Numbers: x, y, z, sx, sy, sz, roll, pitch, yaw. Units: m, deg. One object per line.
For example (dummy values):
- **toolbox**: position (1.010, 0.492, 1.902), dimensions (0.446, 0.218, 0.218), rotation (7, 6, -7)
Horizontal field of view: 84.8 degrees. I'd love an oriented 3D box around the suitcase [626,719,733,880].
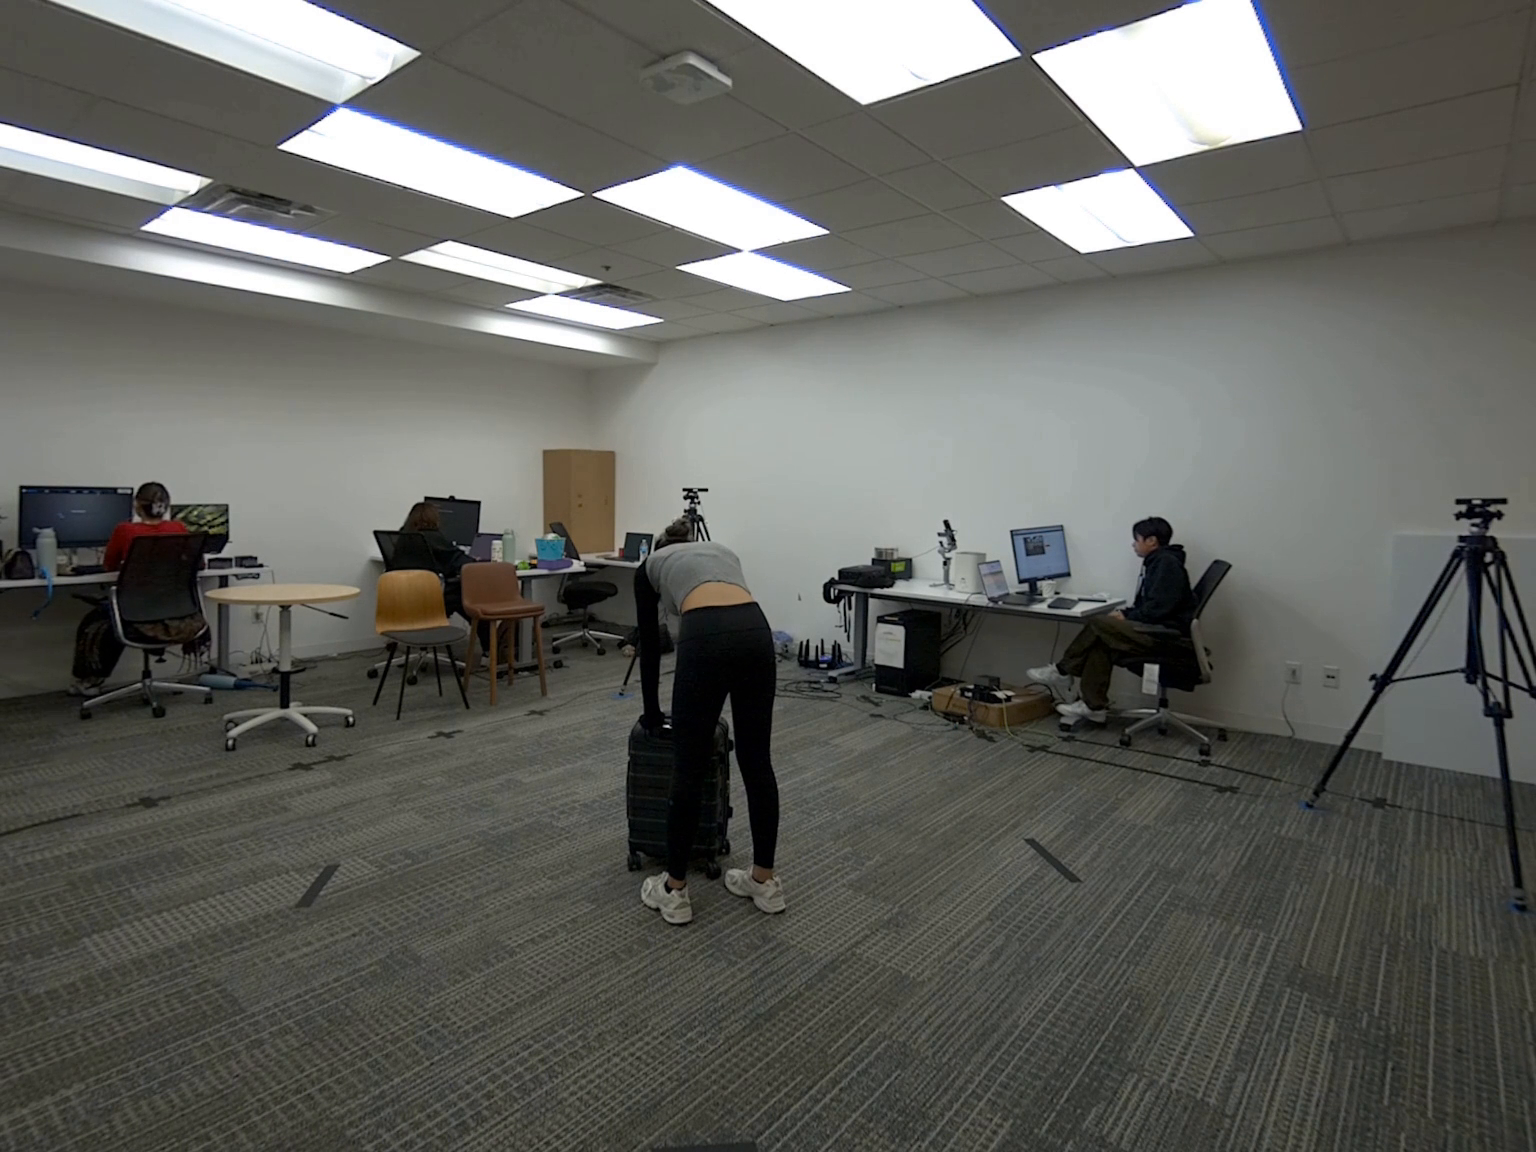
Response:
- **suitcase**: position (-0.343, 0.784, 3.185), dimensions (0.381, 0.549, 0.245), rotation (1, 1, 12)
